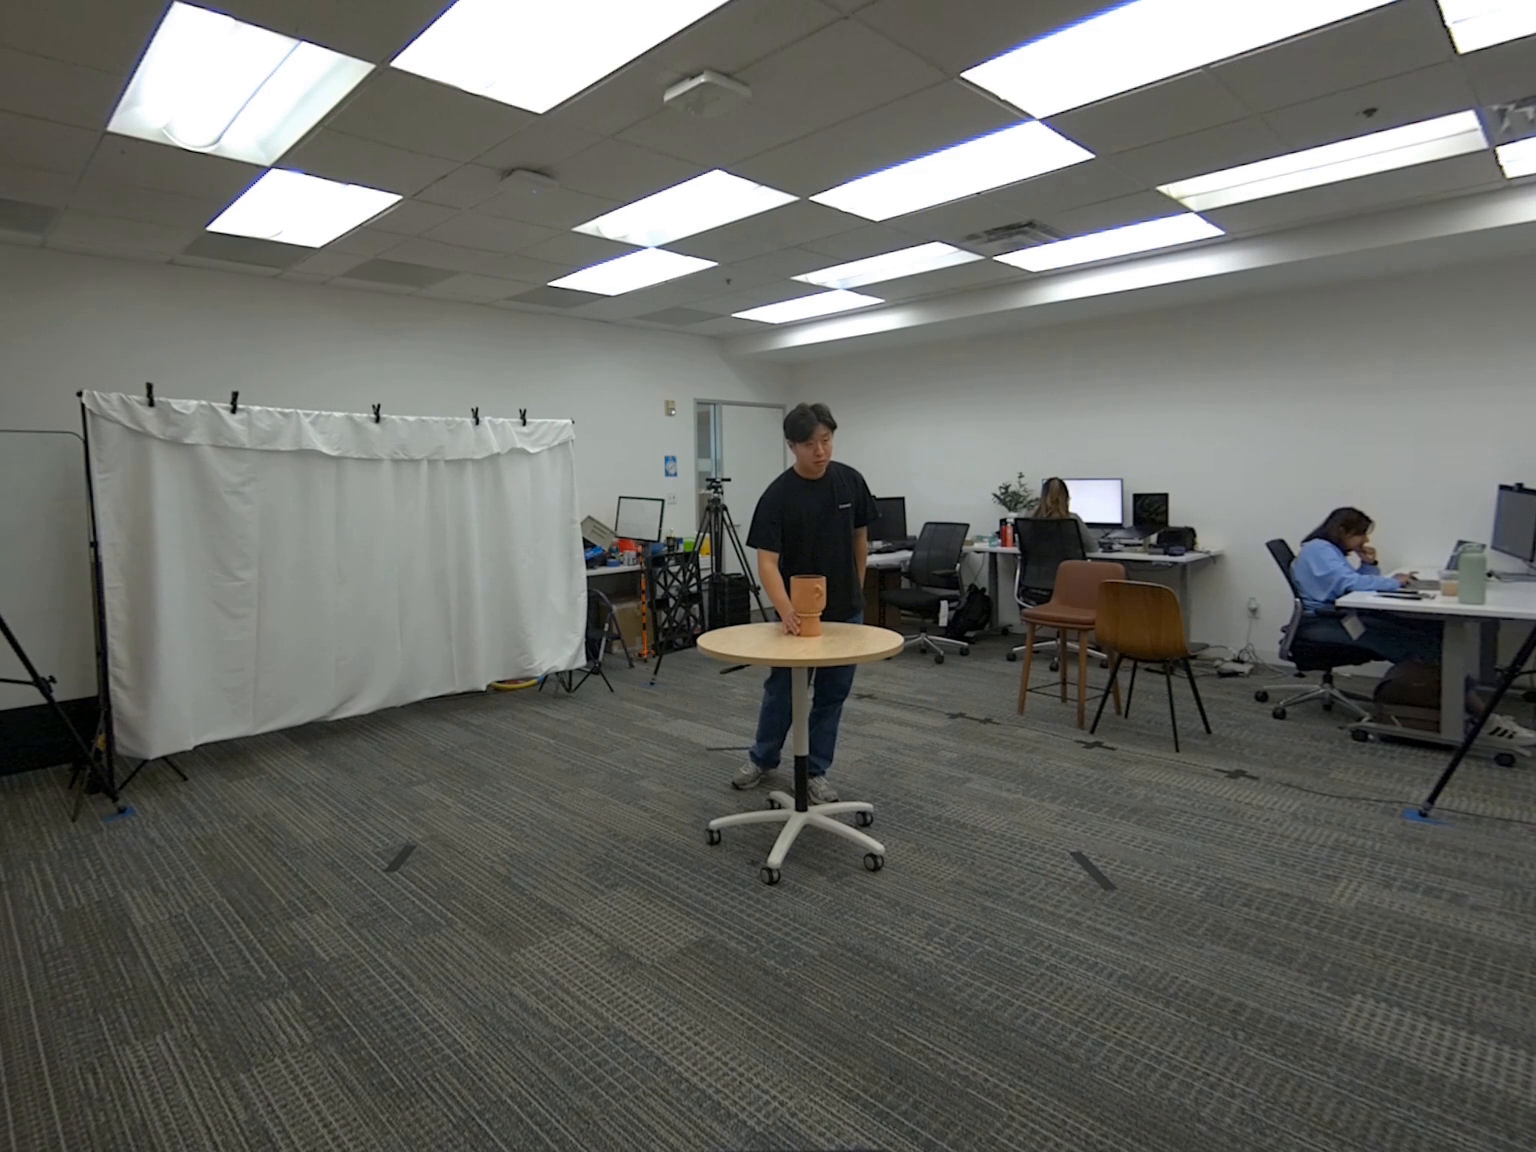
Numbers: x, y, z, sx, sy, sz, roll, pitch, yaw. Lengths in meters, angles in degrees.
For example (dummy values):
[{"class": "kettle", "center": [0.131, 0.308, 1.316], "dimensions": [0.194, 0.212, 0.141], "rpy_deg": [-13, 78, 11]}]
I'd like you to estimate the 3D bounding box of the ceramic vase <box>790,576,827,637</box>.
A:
[{"class": "ceramic vase", "center": [0.152, 0.116, 3.262], "dimensions": [0.136, 0.219, 0.157], "rpy_deg": [-1, 4, 14]}]
